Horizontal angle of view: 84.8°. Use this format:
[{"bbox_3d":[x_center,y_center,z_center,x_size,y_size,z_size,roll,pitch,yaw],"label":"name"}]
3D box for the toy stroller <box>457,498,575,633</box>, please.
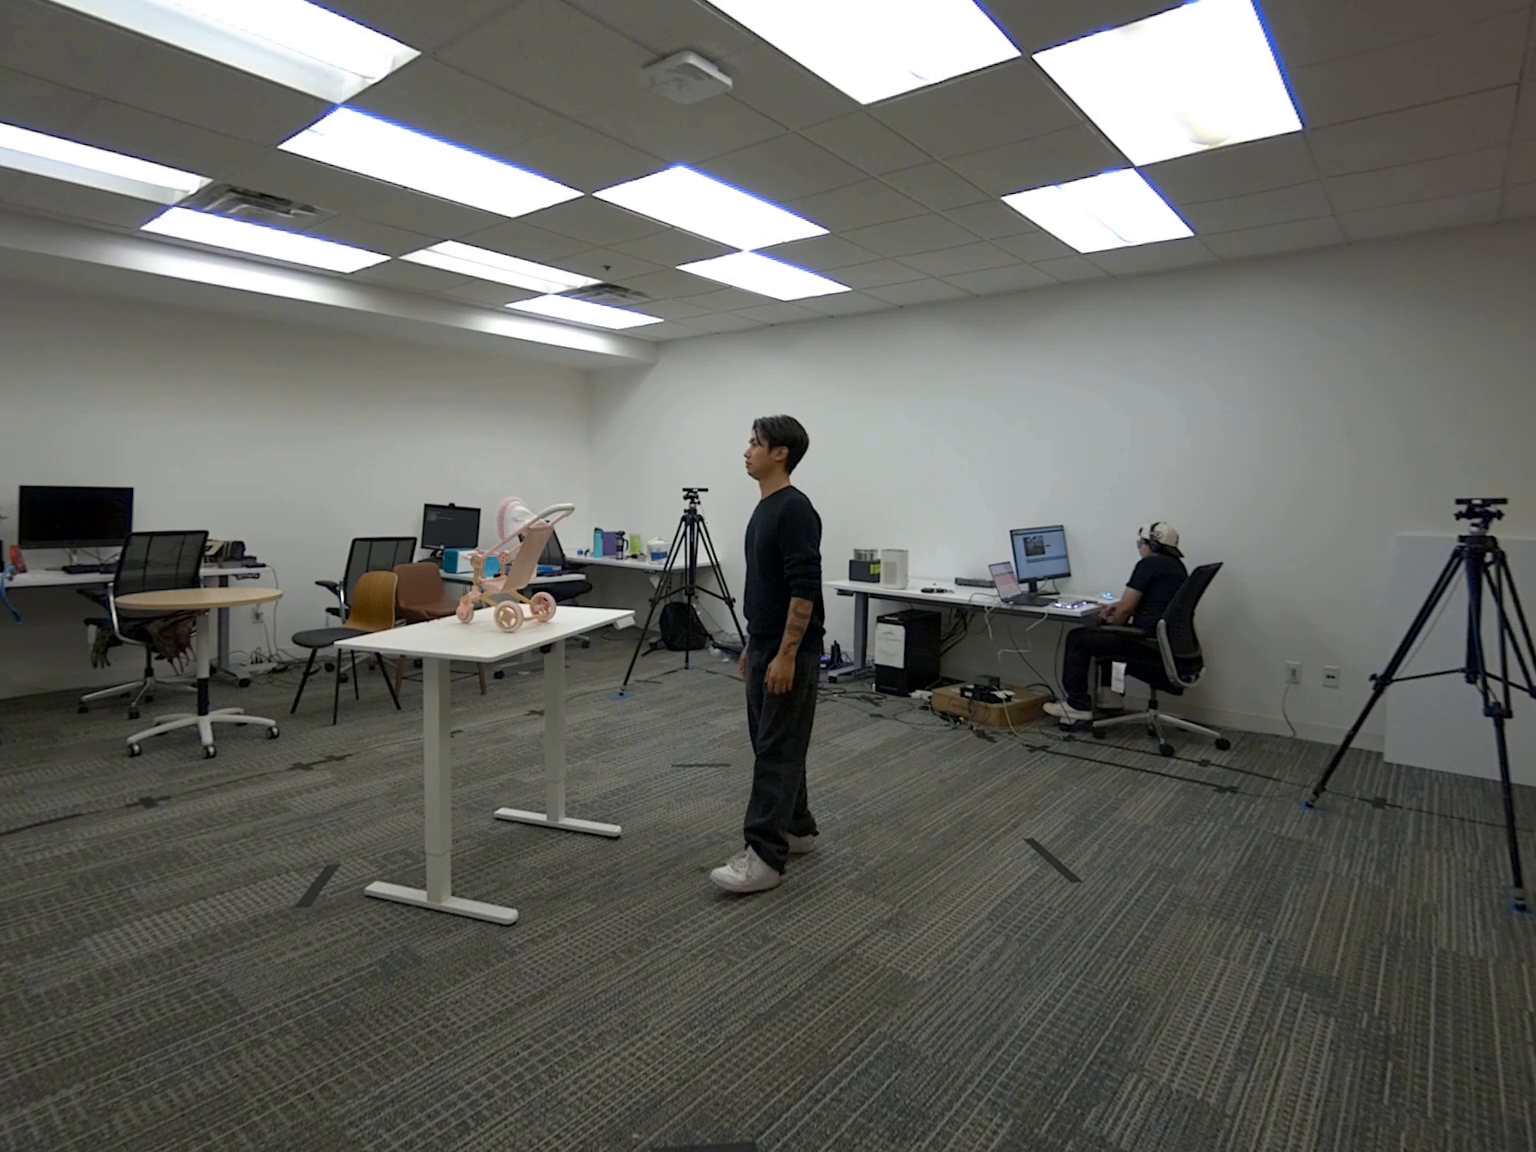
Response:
[{"bbox_3d":[-0.948,-0.046,3.072,0.350,0.532,0.276,17,9,18],"label":"toy stroller"}]
